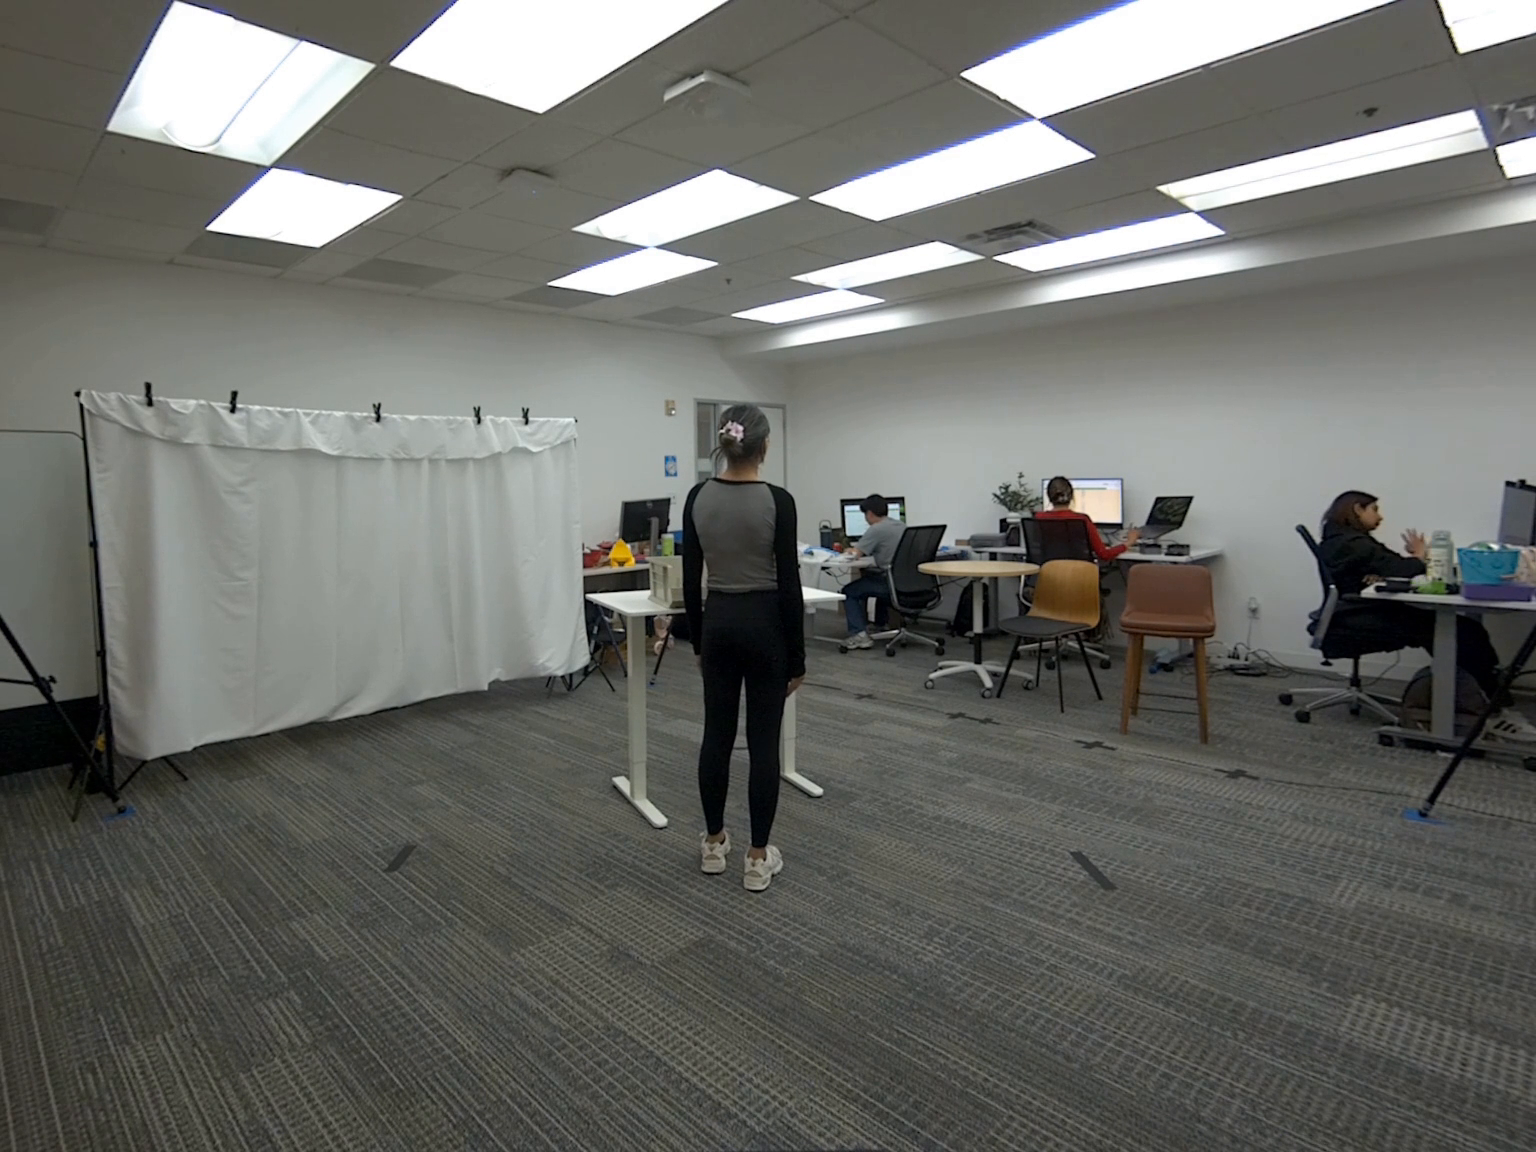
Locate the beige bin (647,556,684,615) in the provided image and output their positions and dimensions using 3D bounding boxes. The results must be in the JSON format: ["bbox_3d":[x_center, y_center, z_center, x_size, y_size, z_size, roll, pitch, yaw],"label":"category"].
[{"bbox_3d":[-0.262,0.019,3.591,0.414,0.188,0.386,-3,5,-22],"label":"beige bin"}]
